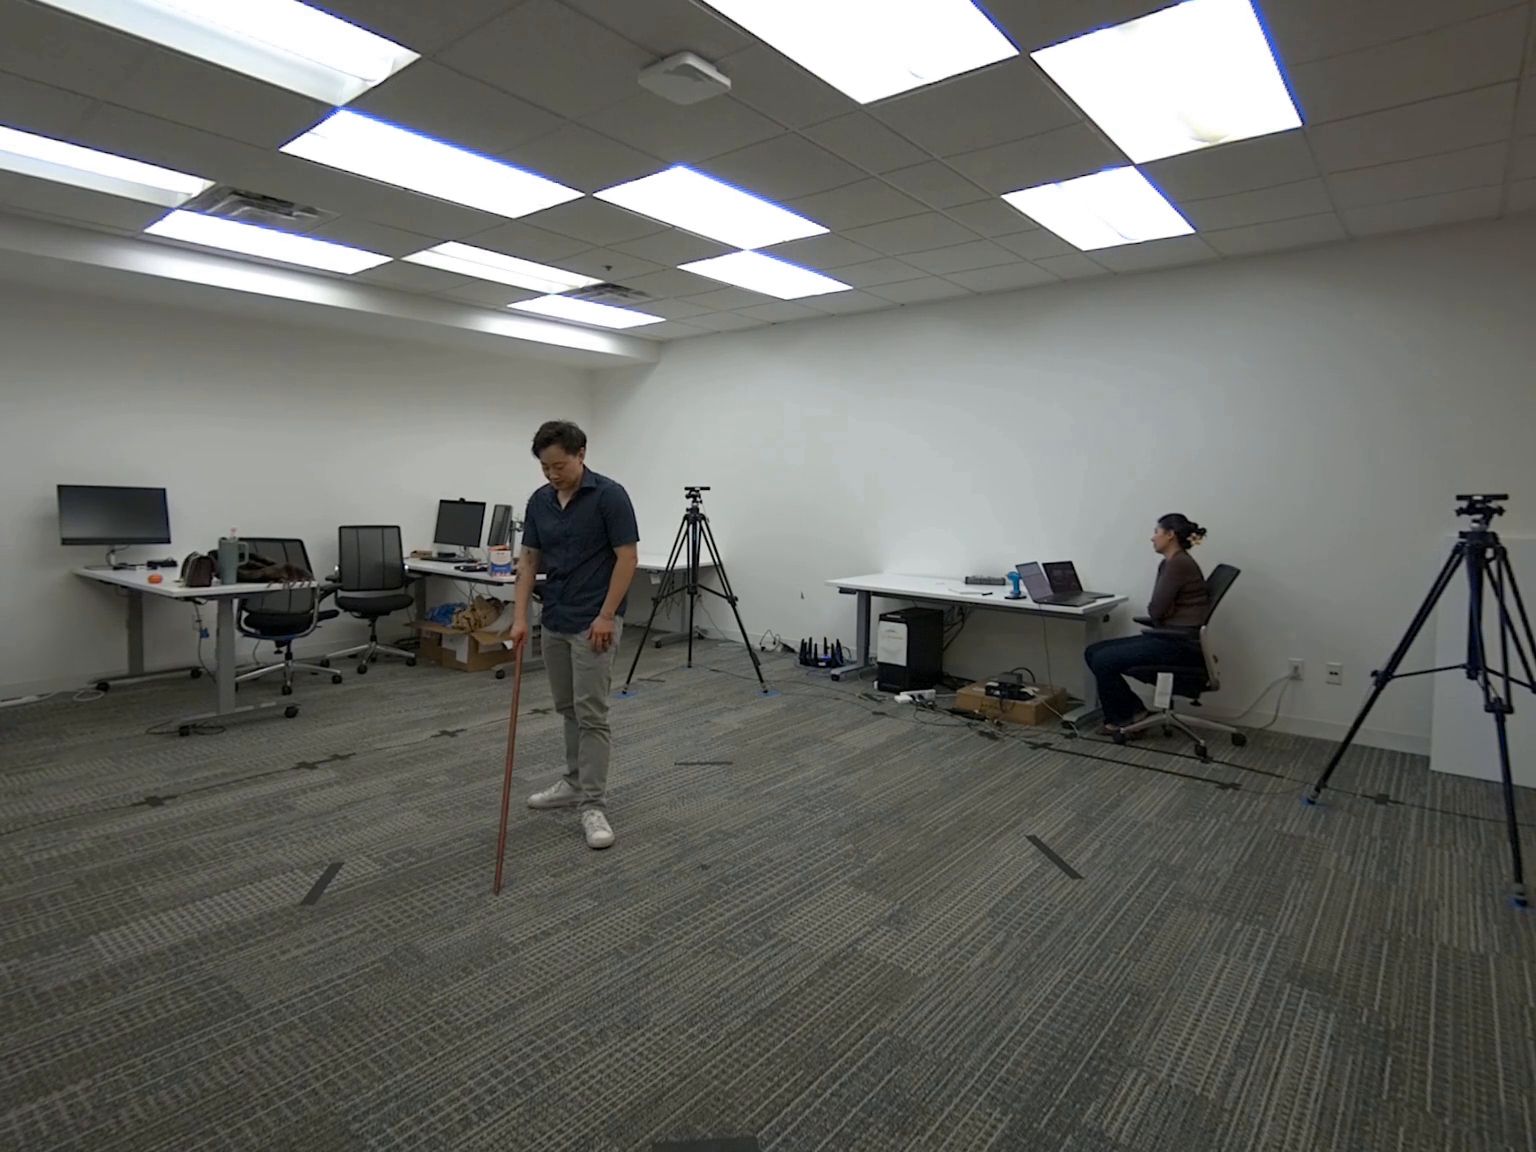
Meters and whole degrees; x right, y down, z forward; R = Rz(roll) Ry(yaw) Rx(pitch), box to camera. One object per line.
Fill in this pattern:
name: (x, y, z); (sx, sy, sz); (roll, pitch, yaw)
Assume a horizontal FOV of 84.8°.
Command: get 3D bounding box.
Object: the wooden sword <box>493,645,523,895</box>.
wooden sword: (-0.973, 0.673, 3.202); (0.052, 1.056, 0.023); (-24, -40, 23)
